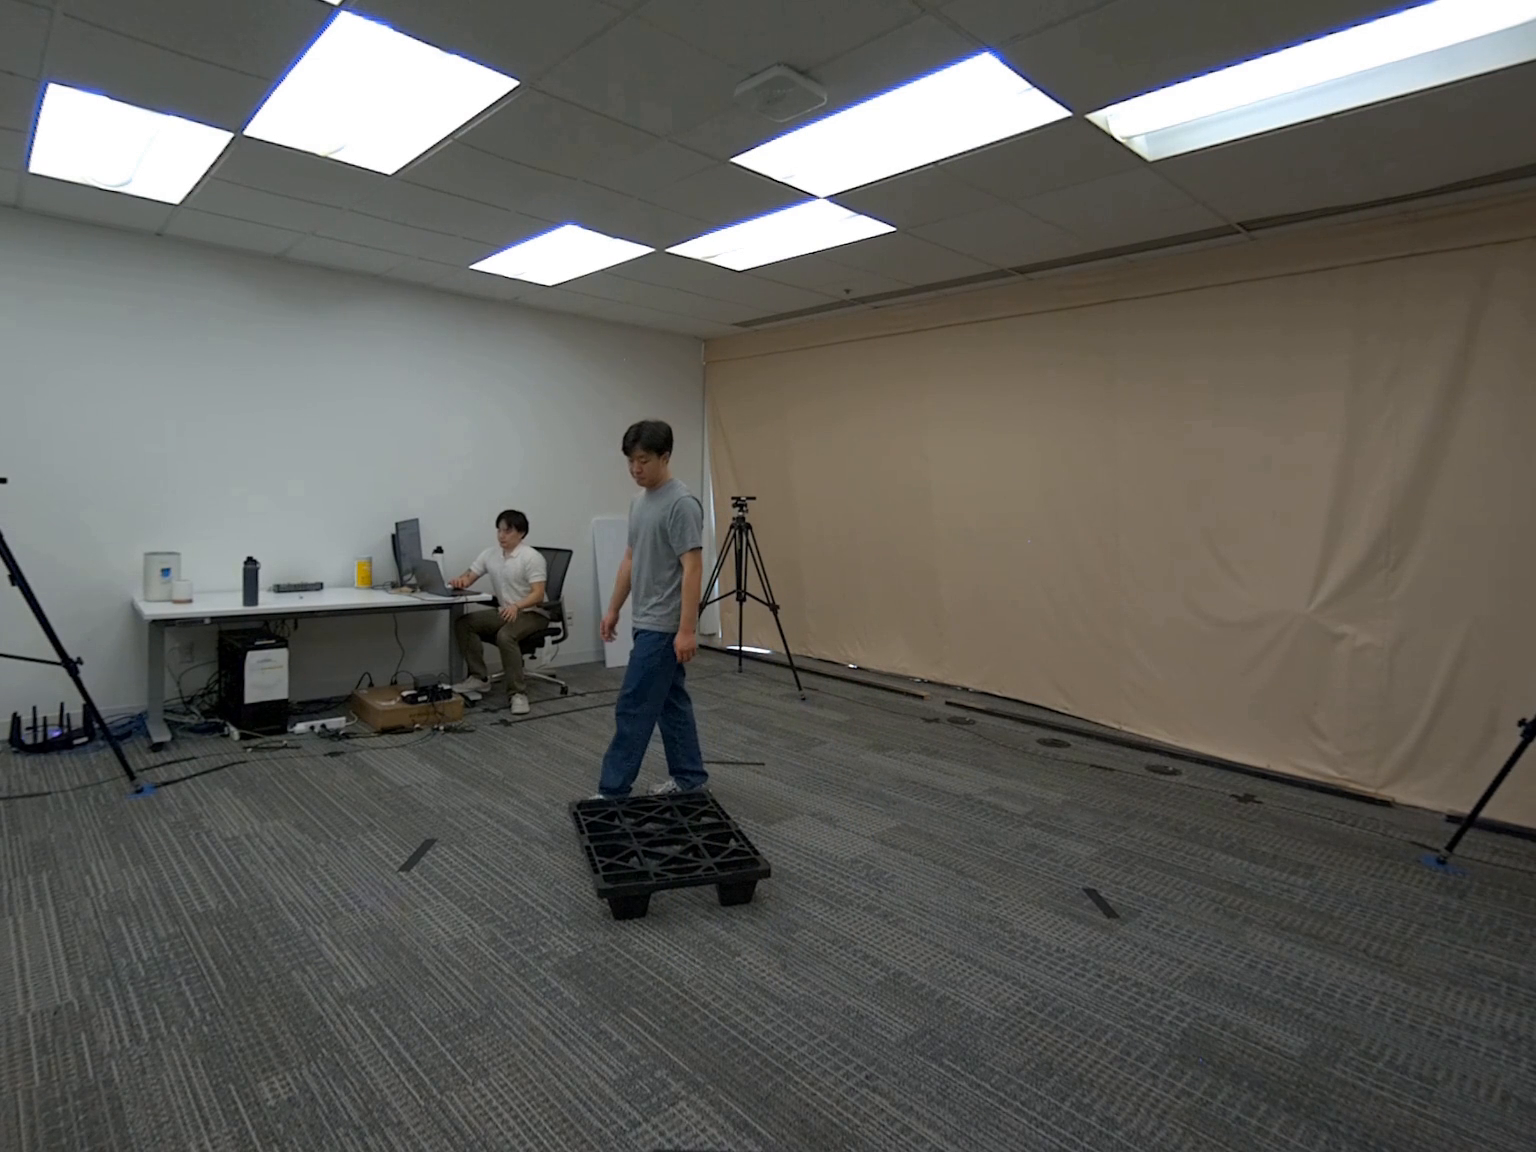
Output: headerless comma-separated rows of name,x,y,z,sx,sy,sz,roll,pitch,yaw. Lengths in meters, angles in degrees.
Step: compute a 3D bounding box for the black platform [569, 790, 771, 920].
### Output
black platform,-0.407,1.028,3.165,0.596,0.143,0.820,0,6,-20
